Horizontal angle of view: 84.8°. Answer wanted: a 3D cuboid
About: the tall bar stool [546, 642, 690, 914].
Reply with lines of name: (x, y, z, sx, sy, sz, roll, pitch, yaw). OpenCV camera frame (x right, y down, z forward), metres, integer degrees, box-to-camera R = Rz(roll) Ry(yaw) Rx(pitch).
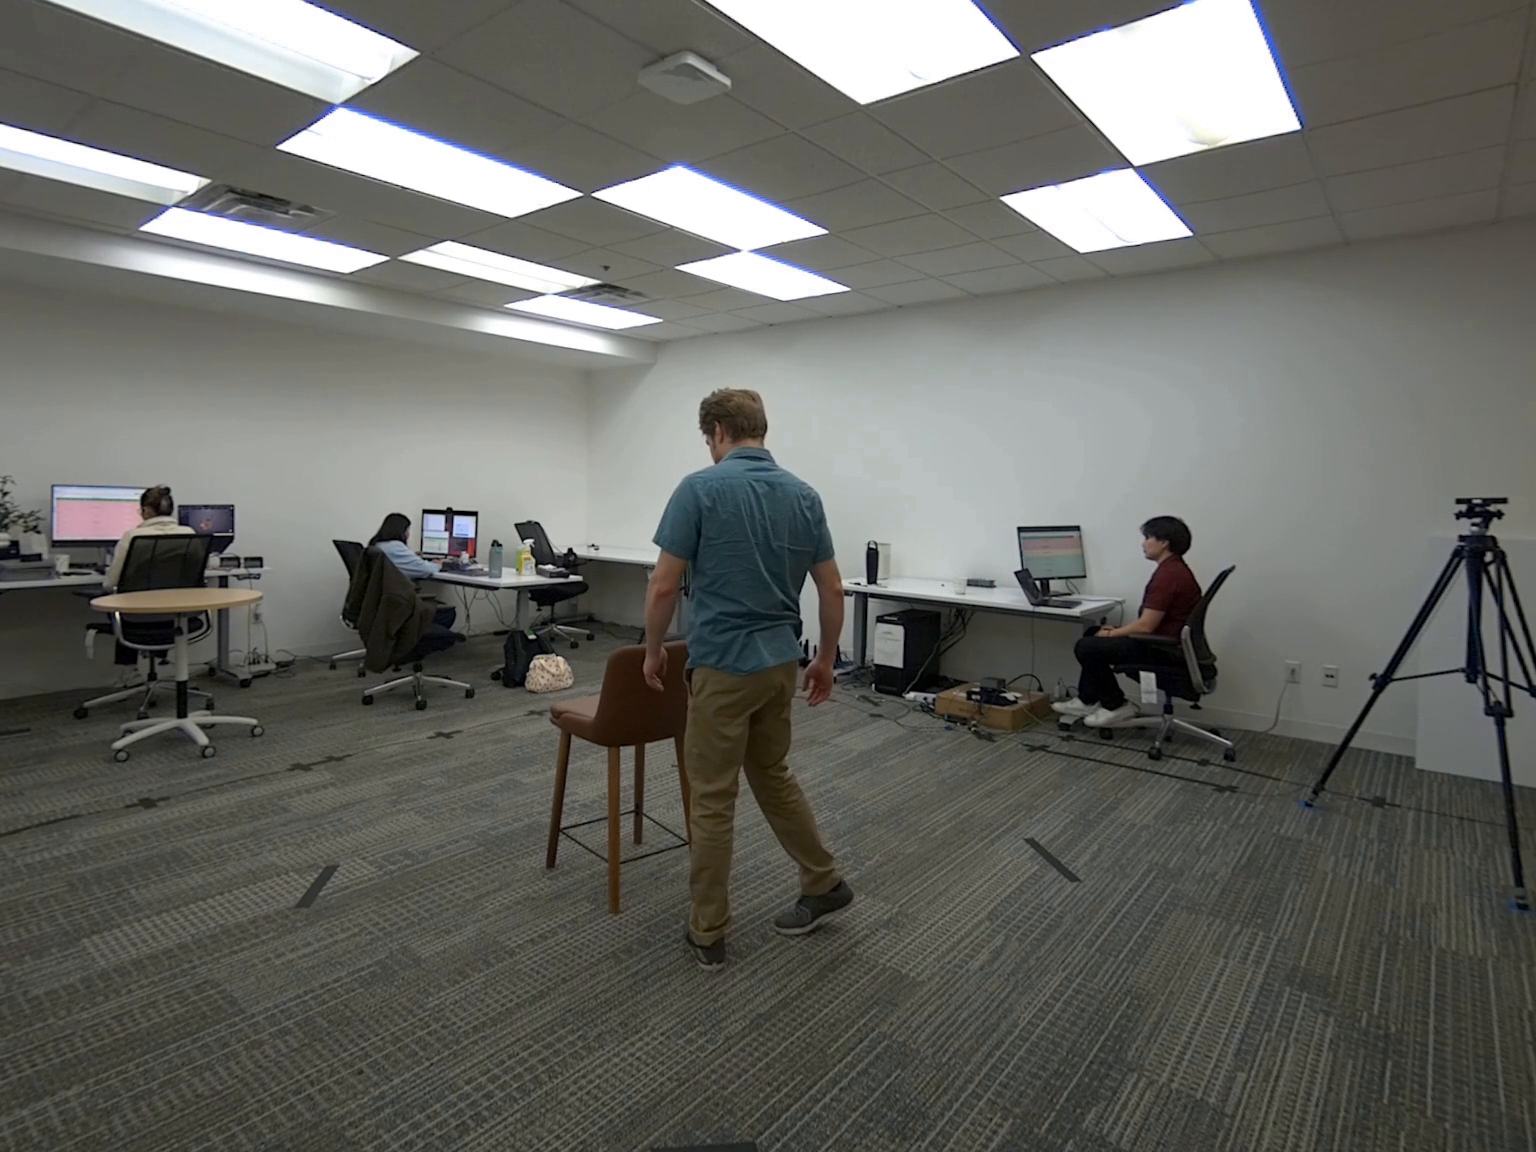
tall bar stool: (-0.510, 0.636, 3.026, 0.443, 0.886, 0.484, -1, 6, -40)
